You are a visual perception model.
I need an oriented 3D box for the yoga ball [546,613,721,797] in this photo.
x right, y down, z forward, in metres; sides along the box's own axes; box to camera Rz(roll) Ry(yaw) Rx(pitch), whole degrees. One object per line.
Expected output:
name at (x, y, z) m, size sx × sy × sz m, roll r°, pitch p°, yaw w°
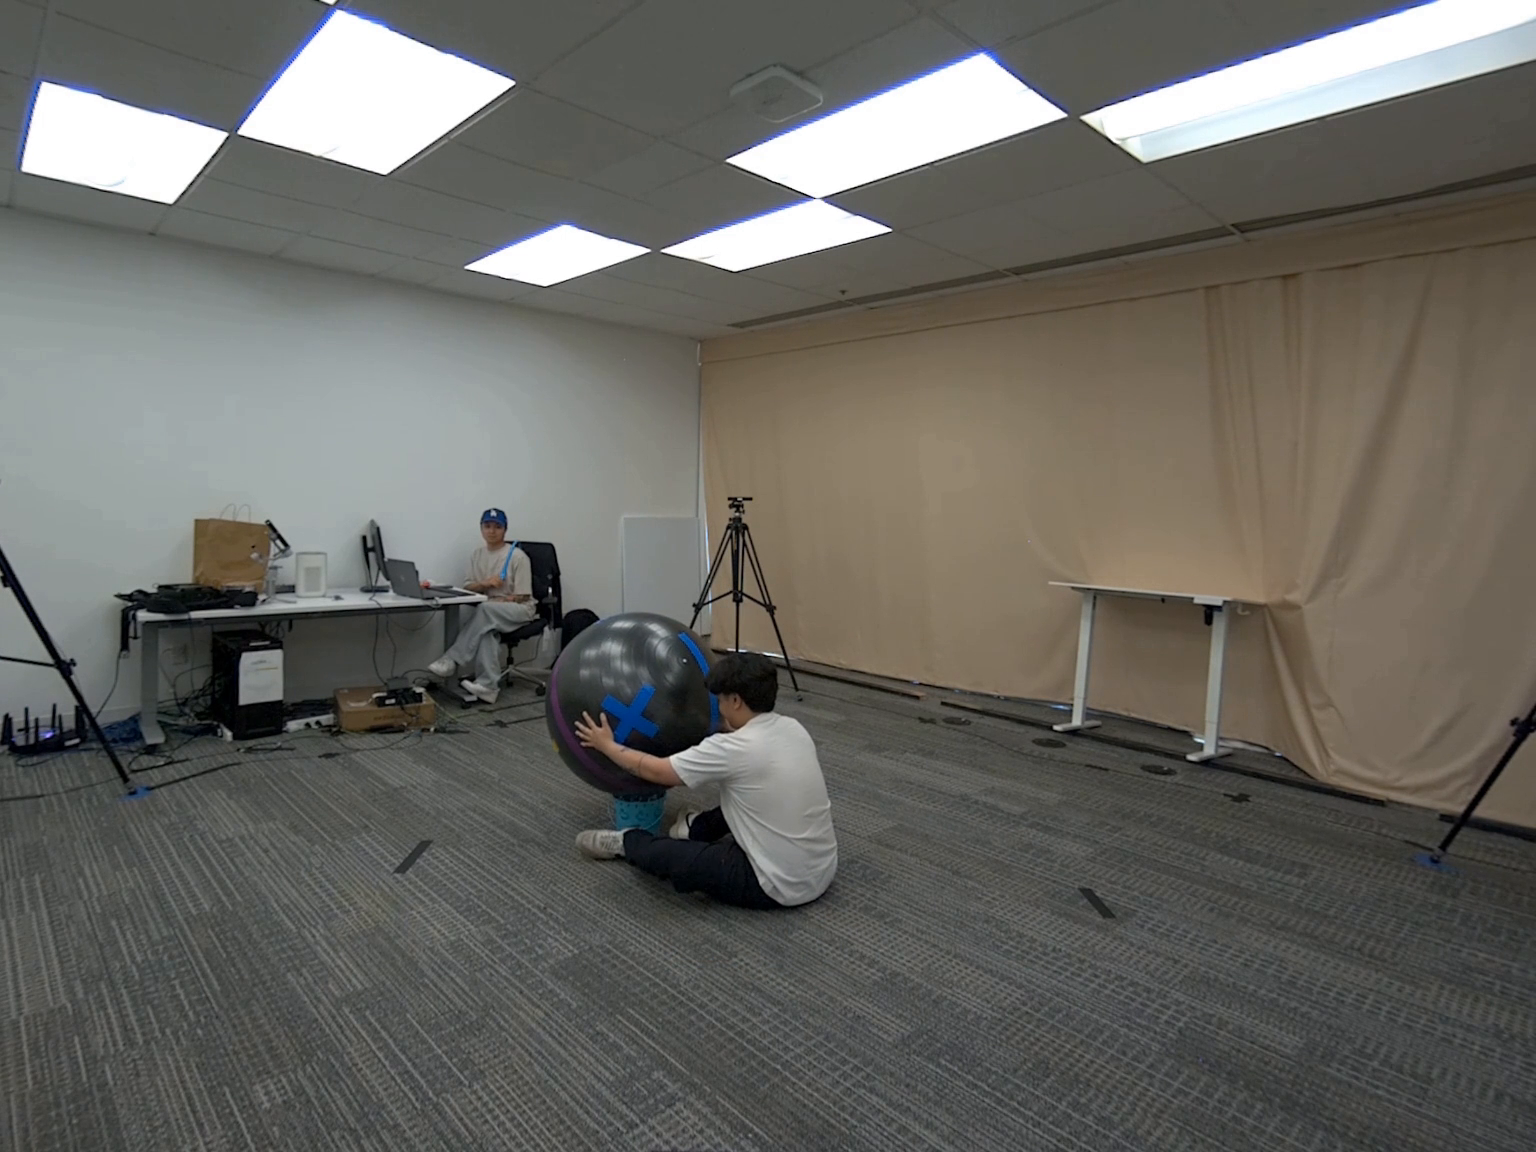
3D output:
yoga ball at (-0.558, 0.529, 3.547) m, size 0.757 × 0.756 × 0.760 m, roll 1°, pitch 4°, yaw -1°
